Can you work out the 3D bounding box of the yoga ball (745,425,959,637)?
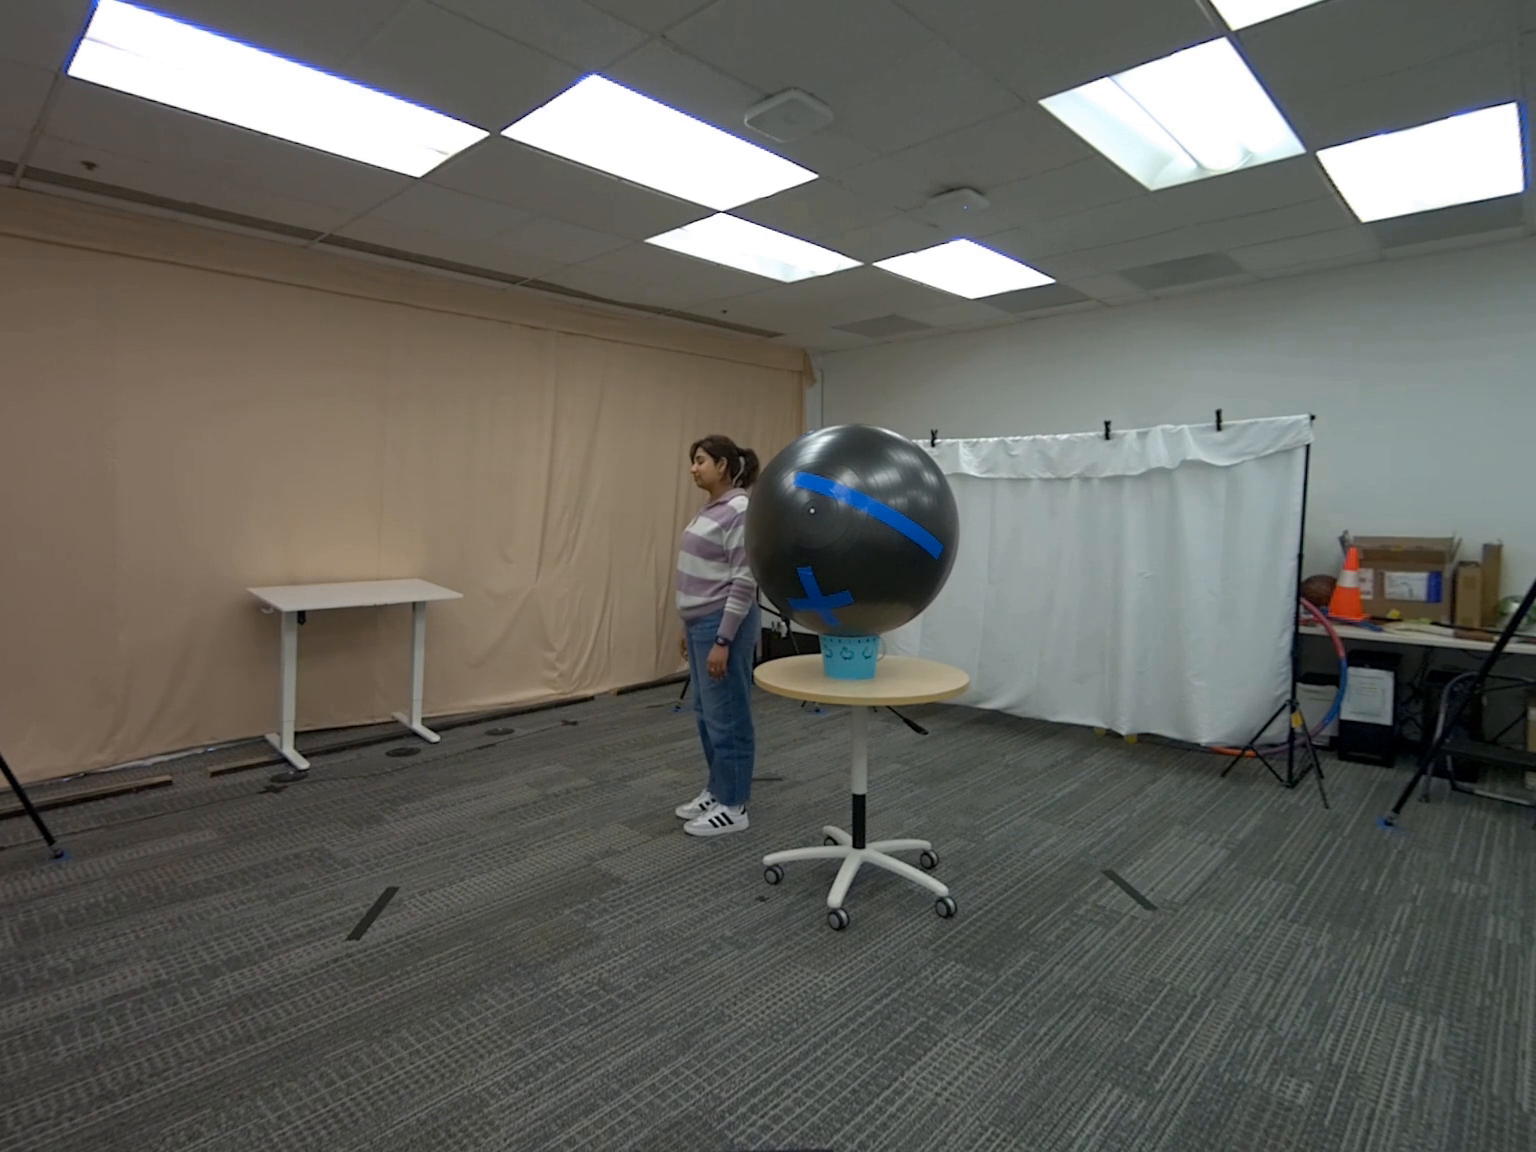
[{"bbox_3d":[0.299,-0.156,3.014,0.757,0.756,0.760,0,4,-2],"label":"yoga ball"}]
